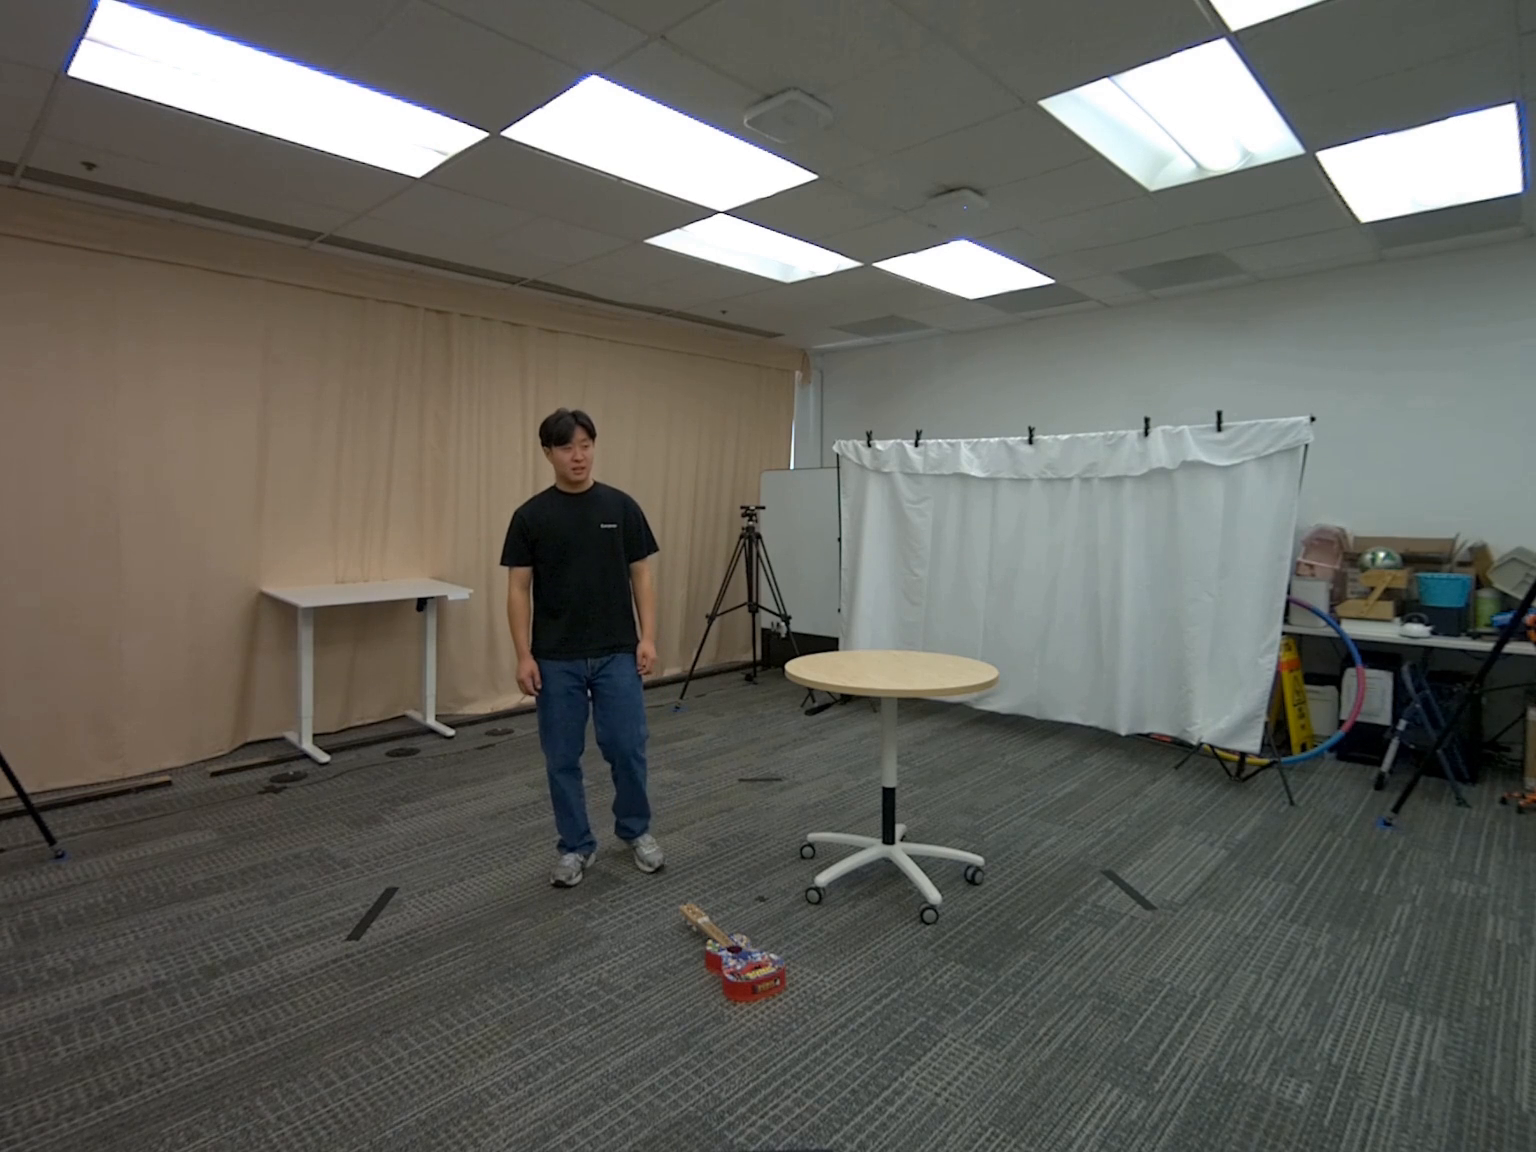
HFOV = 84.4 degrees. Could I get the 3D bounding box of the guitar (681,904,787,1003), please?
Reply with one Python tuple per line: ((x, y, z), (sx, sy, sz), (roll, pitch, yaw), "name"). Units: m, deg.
((-0.113, 1.142, 2.606), (0.189, 0.070, 0.510), (-3, 6, -23), "guitar")
